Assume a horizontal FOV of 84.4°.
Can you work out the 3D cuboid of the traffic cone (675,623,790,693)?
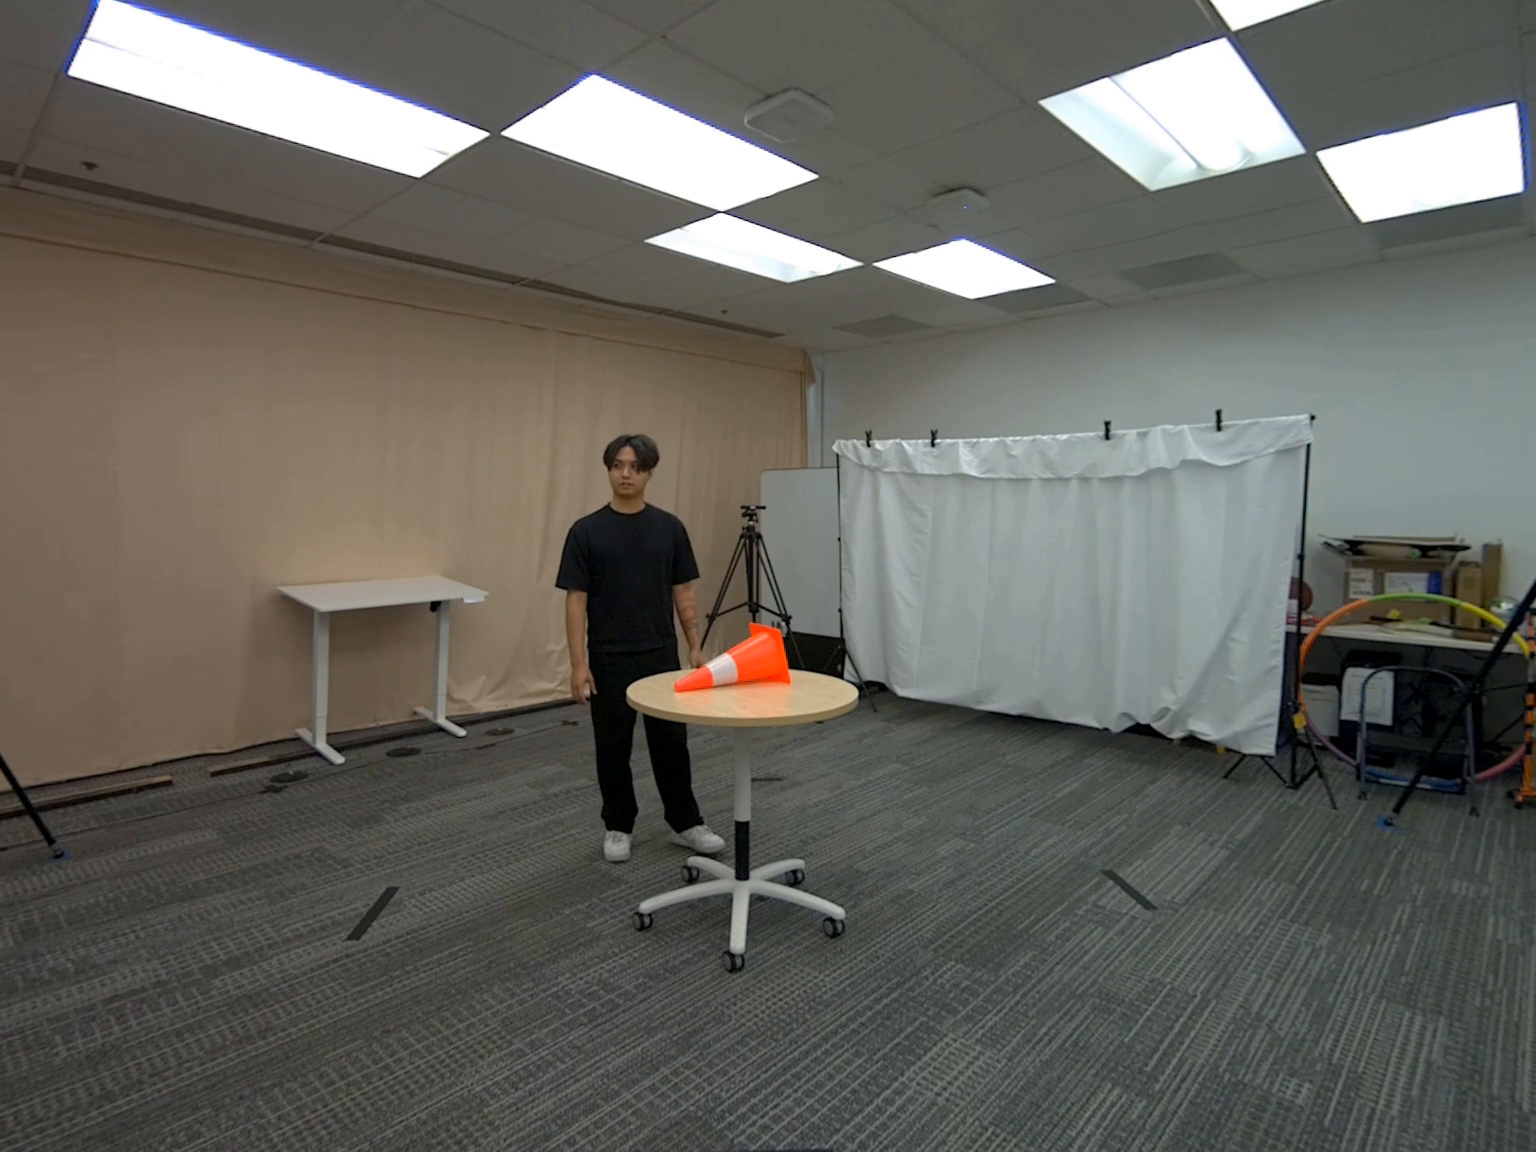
[{"bbox_3d":[-0.145,0.319,2.846,0.375,0.203,0.209,-17,12,-31],"label":"traffic cone"}]
